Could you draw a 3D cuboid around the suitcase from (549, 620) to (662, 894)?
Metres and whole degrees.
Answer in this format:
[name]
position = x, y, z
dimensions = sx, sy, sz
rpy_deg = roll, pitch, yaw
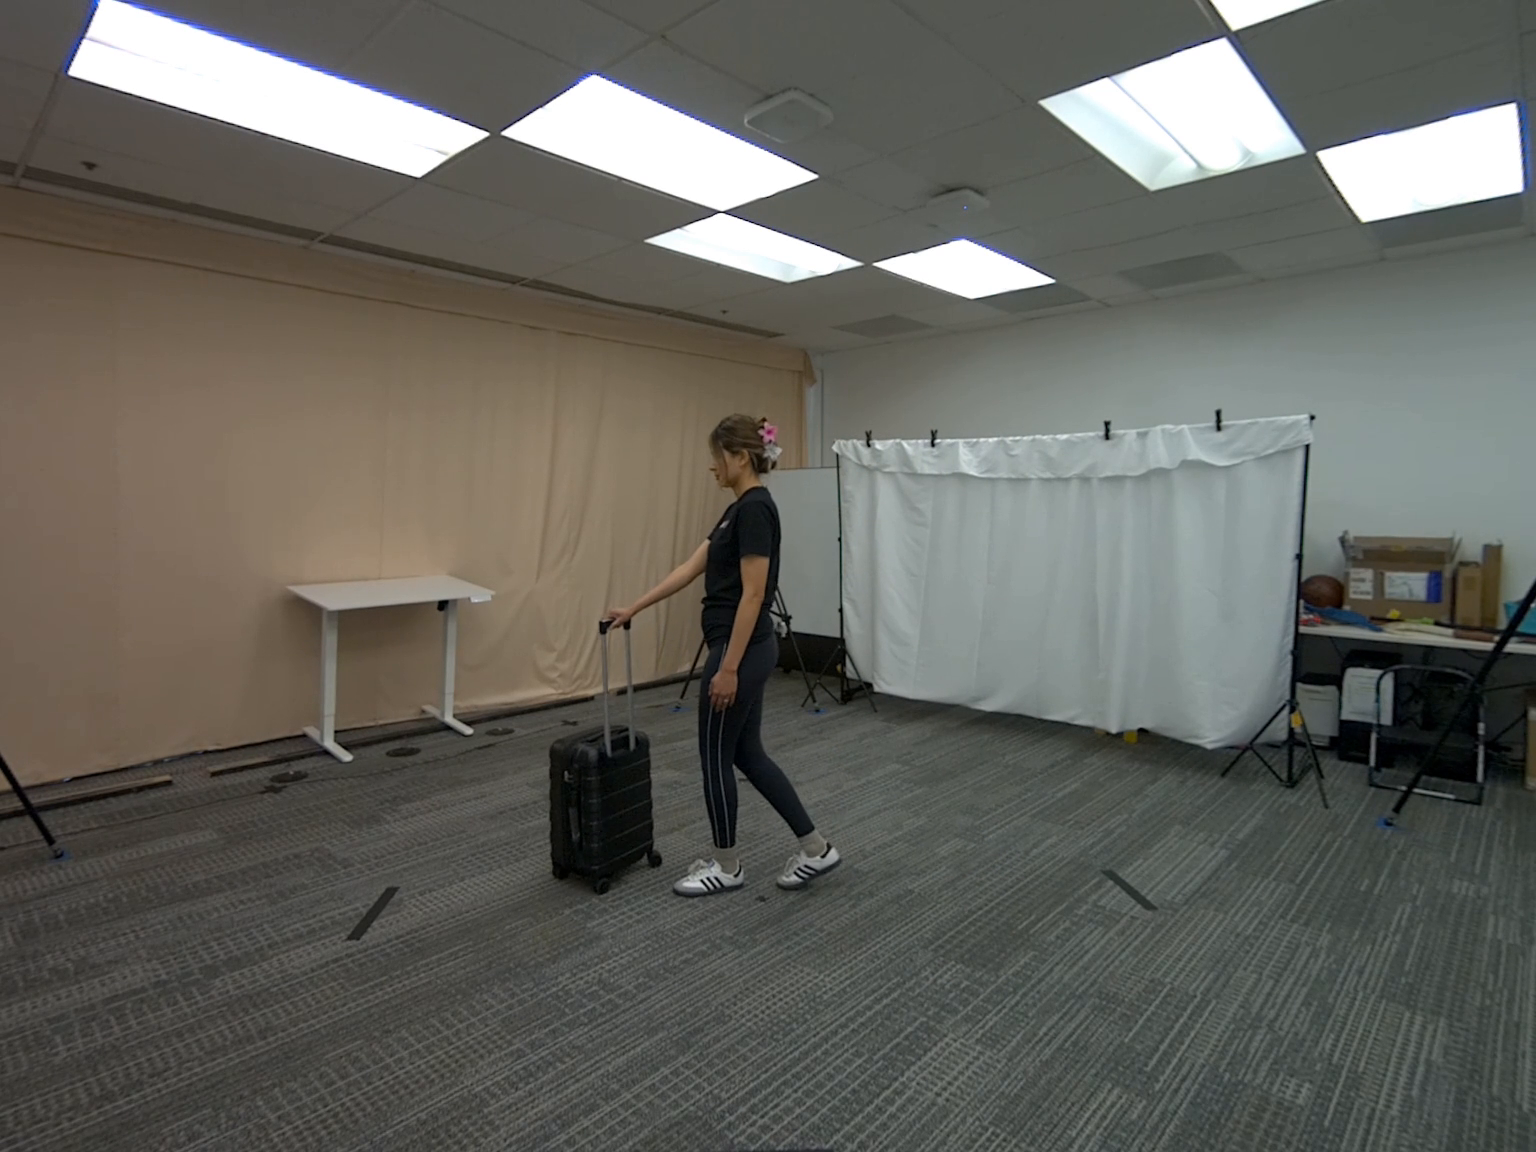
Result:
[suitcase]
position = -0.644, 0.655, 3.190
dimensions = 0.265, 0.977, 0.373
rpy_deg = -1, 3, 34
